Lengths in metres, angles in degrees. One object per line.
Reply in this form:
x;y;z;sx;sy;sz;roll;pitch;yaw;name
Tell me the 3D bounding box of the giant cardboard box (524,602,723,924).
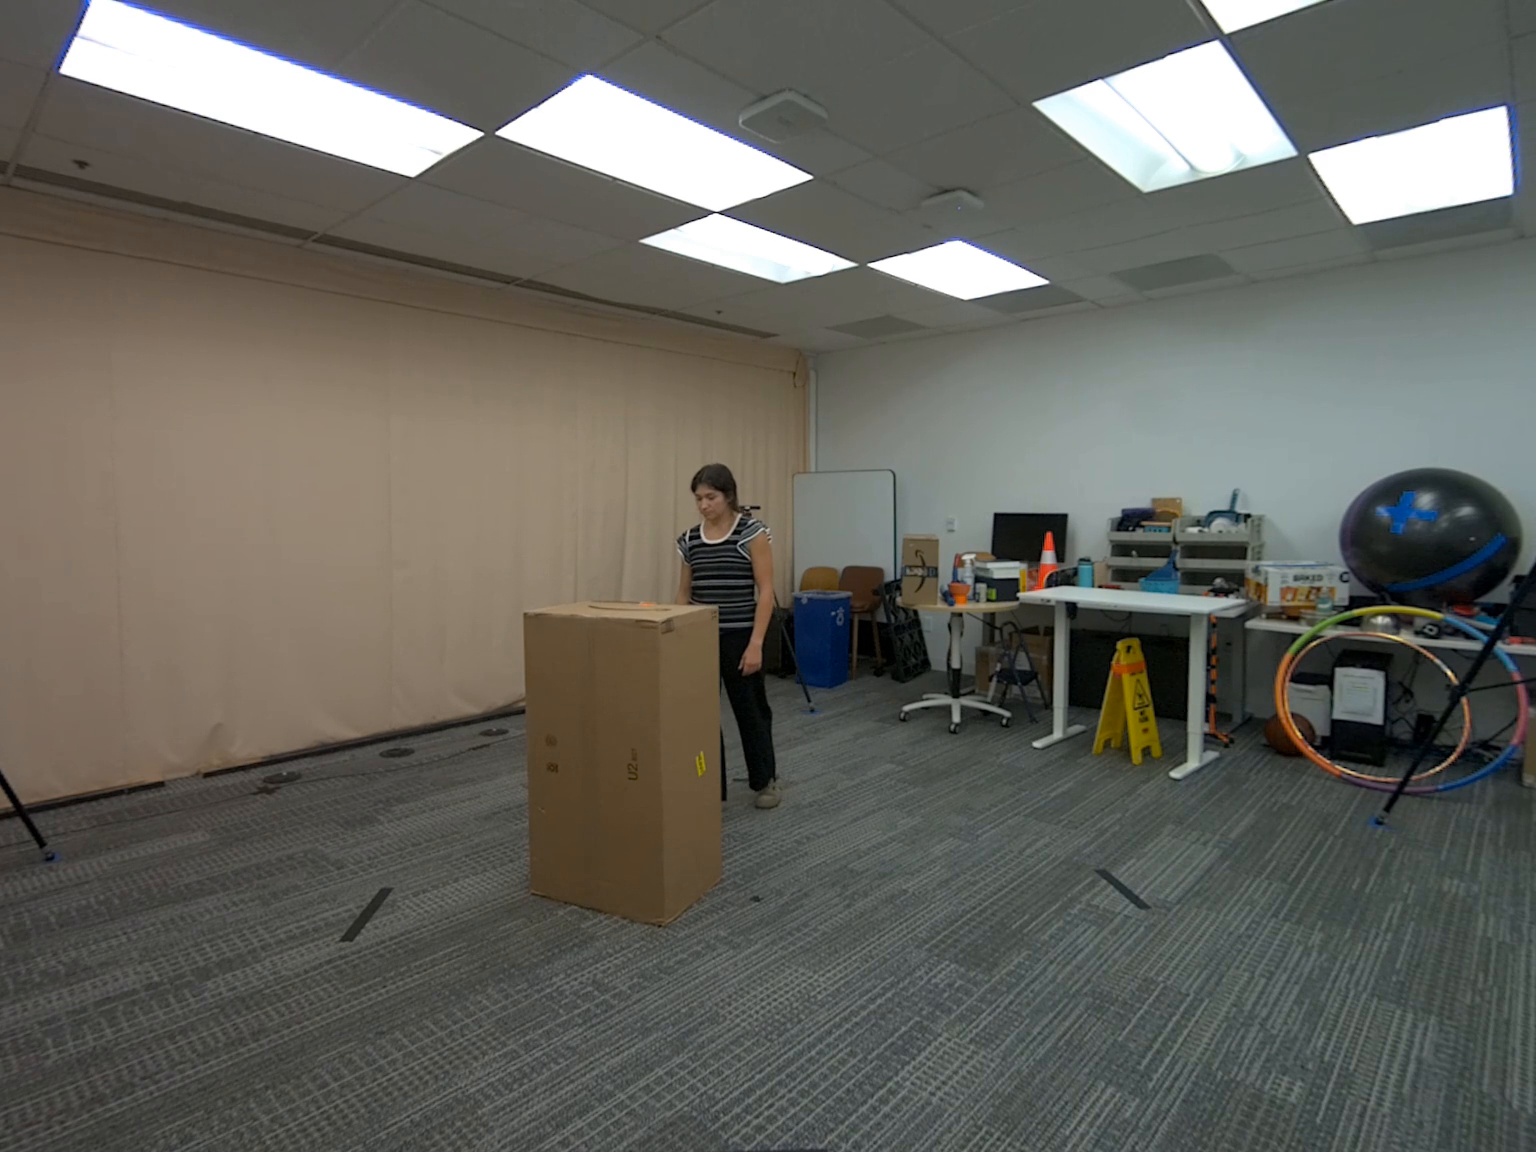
-0.527;0.632;3.078;0.593;1.024;0.415;1;3;27;giant cardboard box
